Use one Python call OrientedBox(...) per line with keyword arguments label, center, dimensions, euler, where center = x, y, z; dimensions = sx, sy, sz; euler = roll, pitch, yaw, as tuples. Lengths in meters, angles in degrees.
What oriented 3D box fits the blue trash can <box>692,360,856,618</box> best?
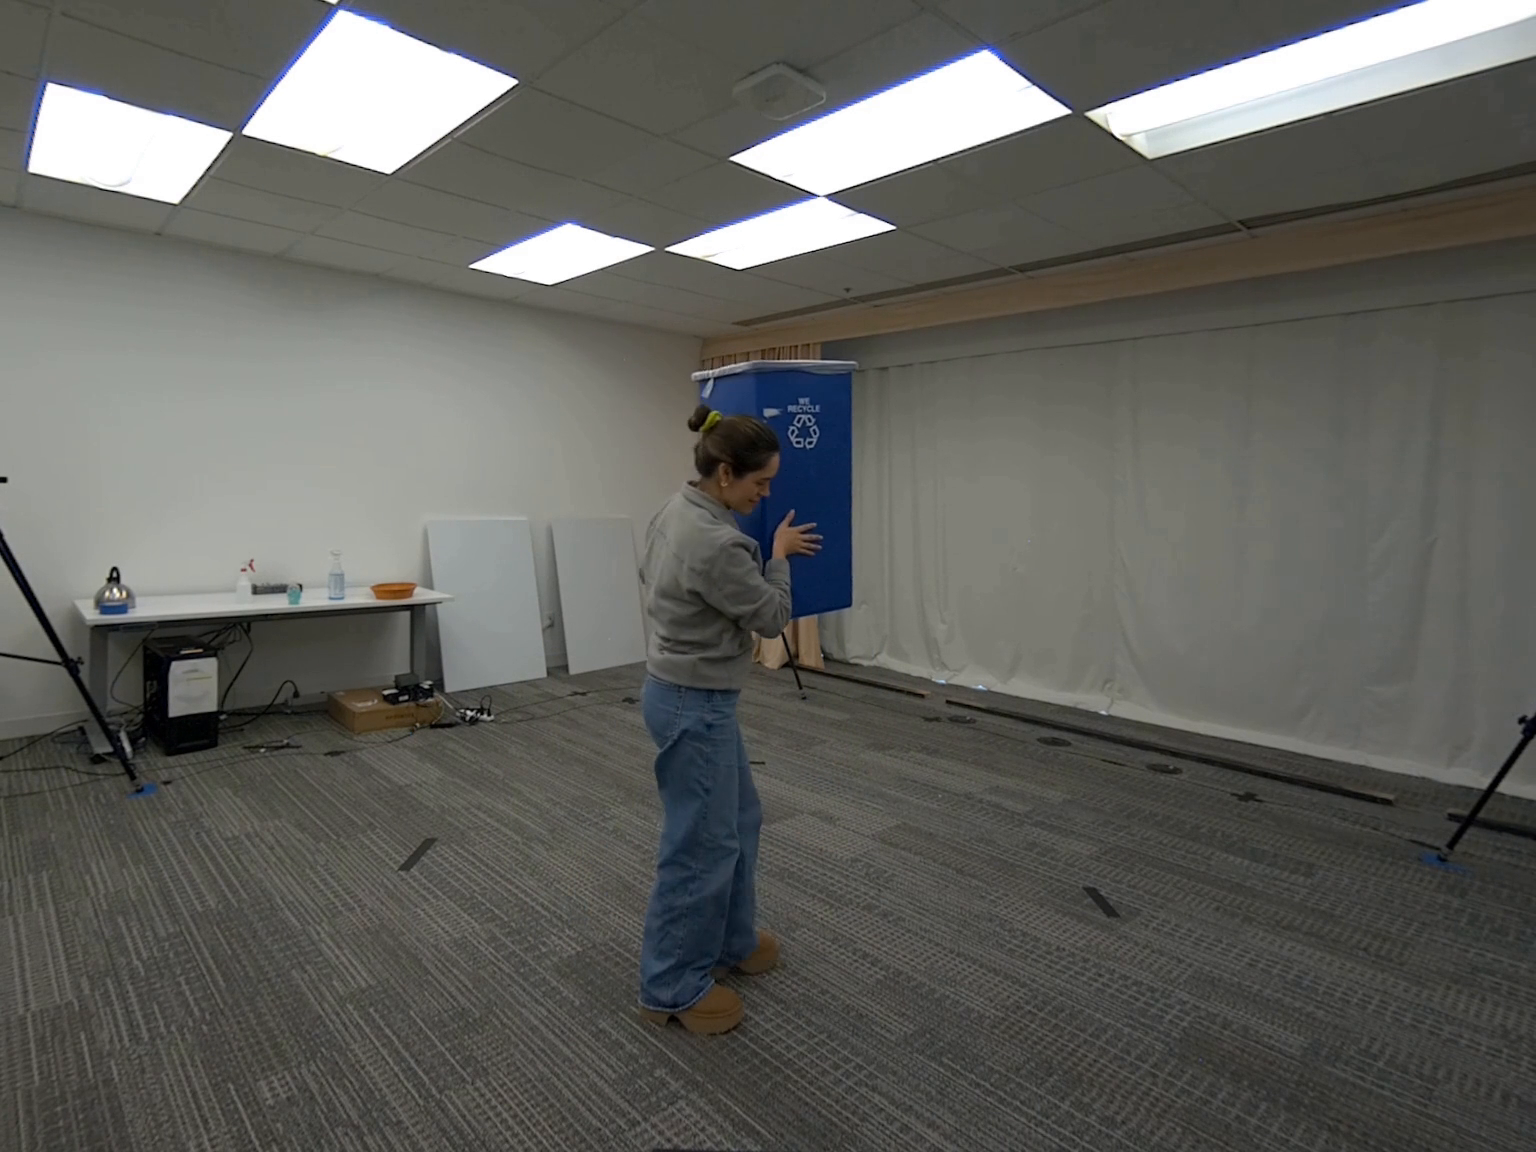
OrientedBox(label="blue trash can", center=(0.026, -0.260, 2.504), dimensions=(0.367, 0.709, 0.387), euler=(-8, 9, -32))
